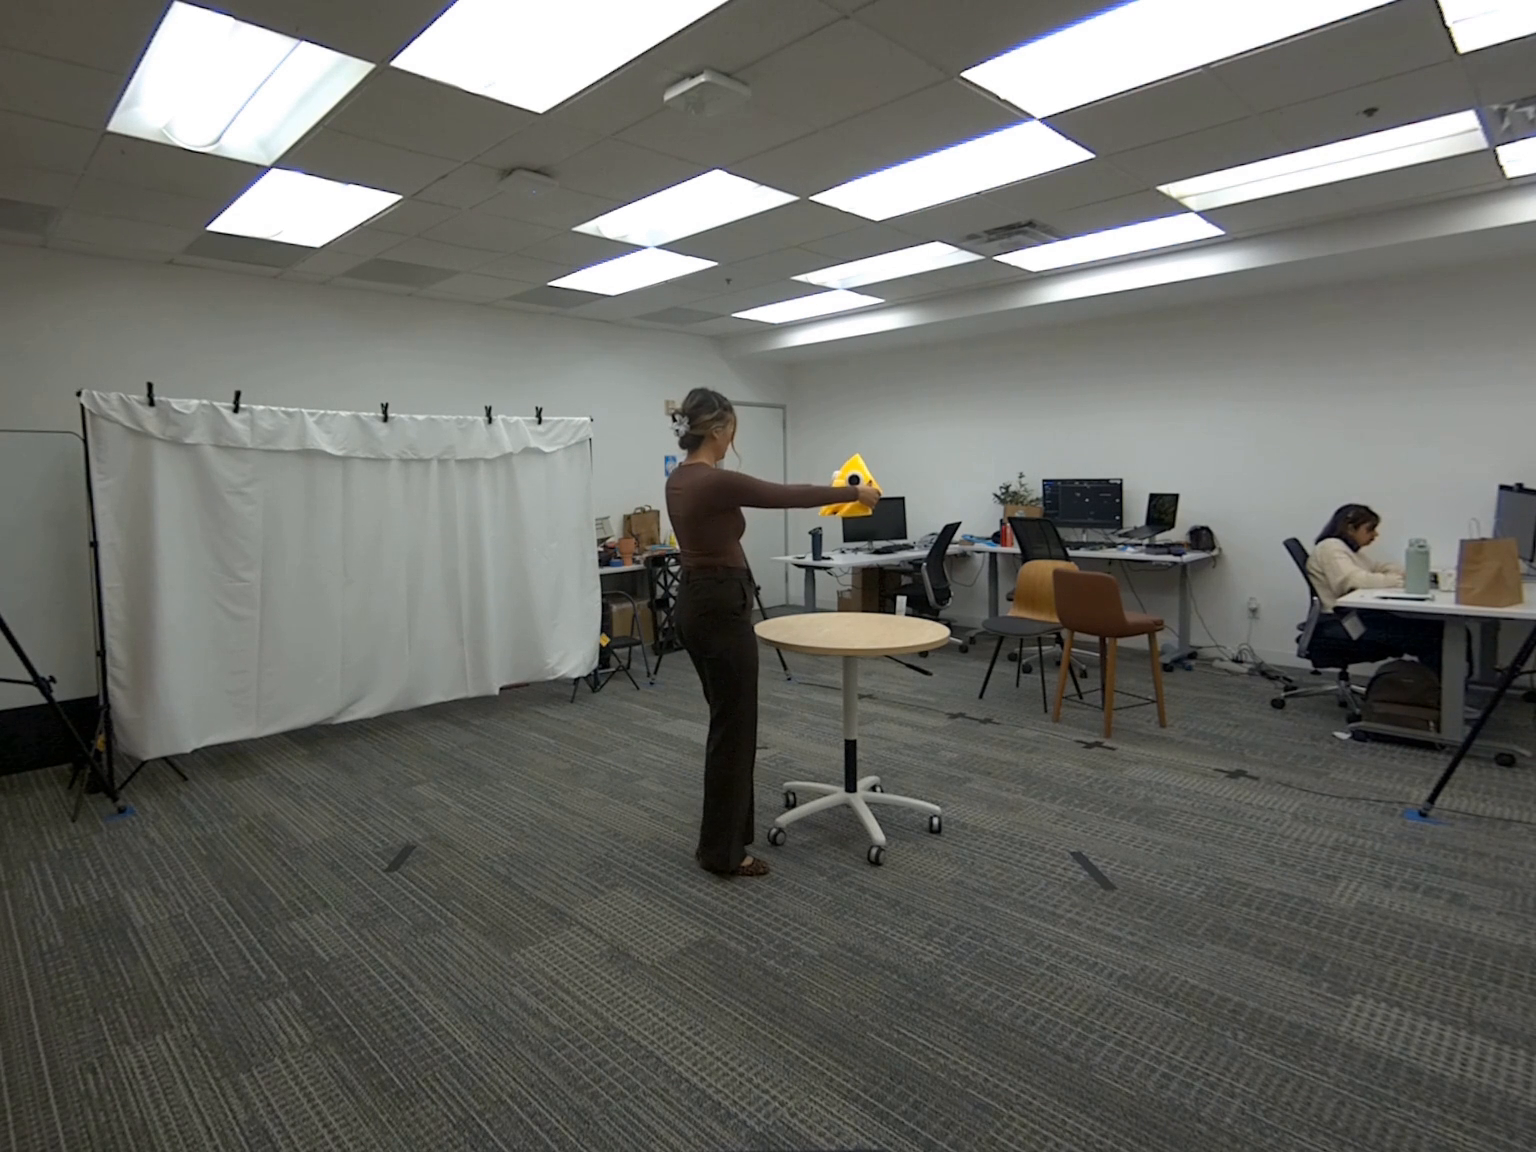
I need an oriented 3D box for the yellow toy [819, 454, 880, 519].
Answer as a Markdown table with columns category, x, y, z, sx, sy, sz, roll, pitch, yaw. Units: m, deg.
| category | x | y | z | sx | sy | sz | roll | pitch | yaw |
| --- | --- | --- | --- | --- | --- | --- | --- | --- | --- |
| yellow toy | 0.307 | -0.355 | 3.288 | 0.189 | 0.229 | 0.210 | -7 | 8 | -29 |
